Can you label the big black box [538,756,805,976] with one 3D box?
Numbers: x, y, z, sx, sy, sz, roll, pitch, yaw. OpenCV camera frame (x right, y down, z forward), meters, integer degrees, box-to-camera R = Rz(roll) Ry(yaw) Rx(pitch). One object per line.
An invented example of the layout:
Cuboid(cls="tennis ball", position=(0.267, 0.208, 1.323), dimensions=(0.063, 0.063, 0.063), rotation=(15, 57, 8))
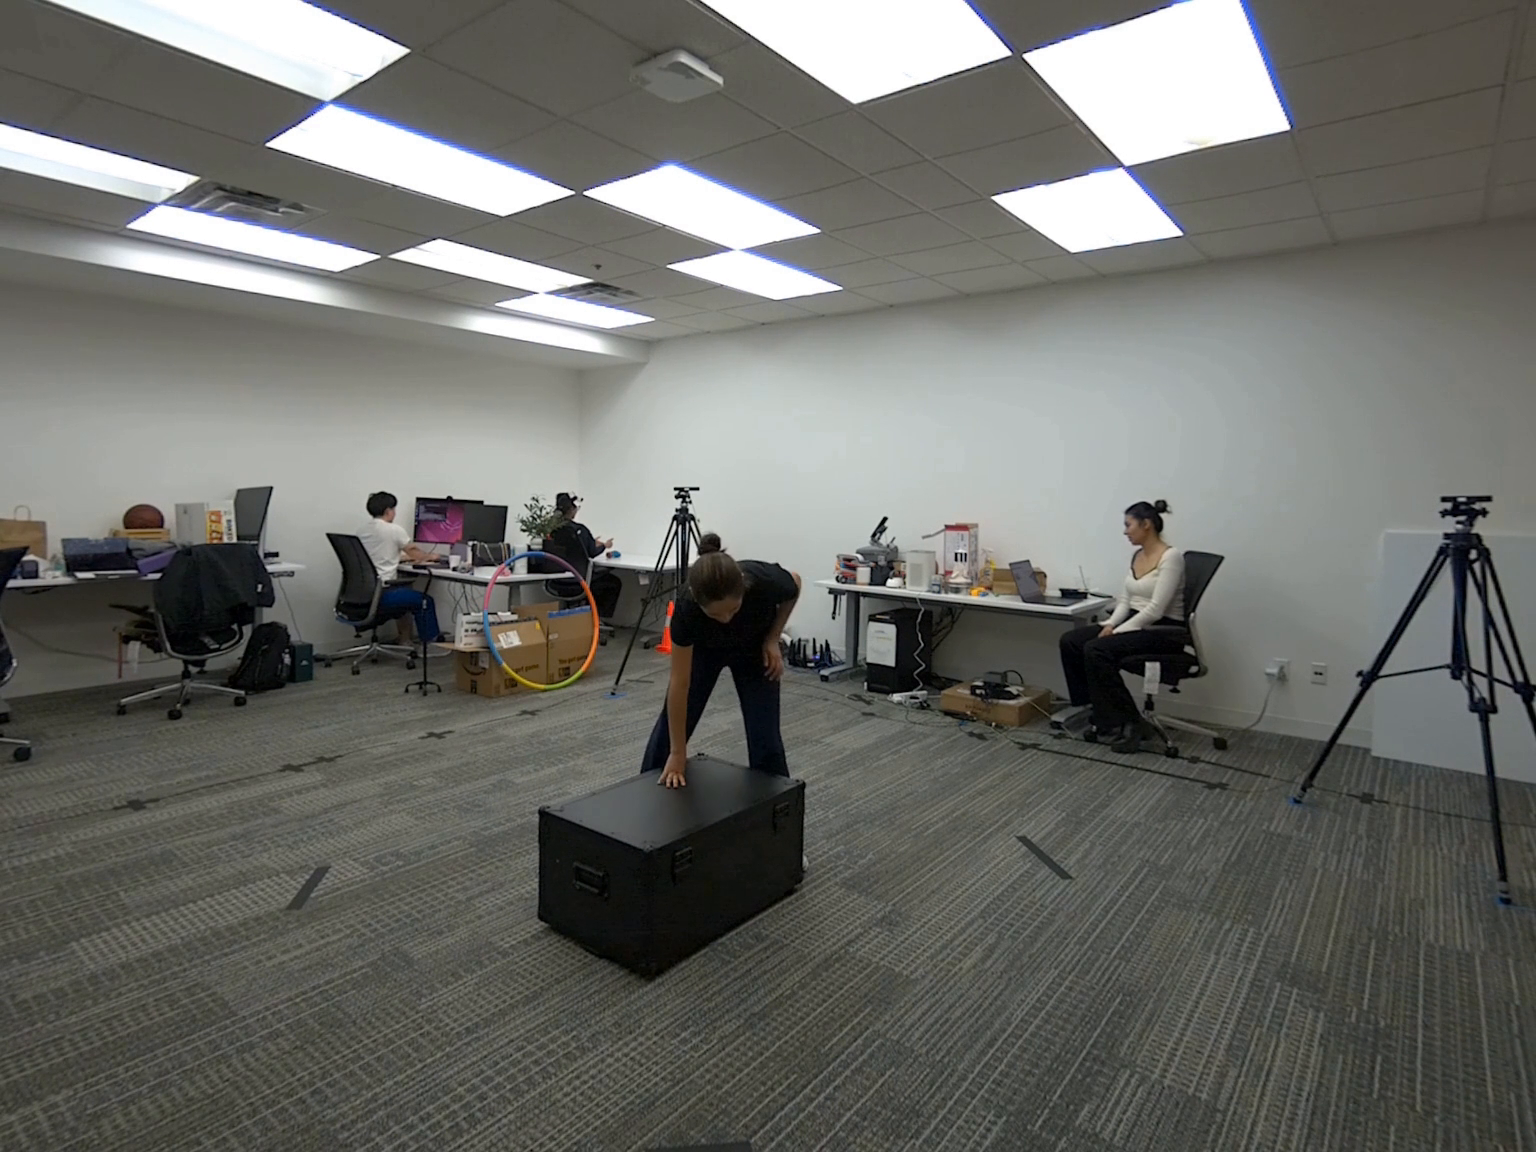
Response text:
Cuboid(cls="big black box", position=(-0.271, 0.884, 2.848), dimensions=(0.538, 0.395, 0.836), rotation=(4, 5, 38))
